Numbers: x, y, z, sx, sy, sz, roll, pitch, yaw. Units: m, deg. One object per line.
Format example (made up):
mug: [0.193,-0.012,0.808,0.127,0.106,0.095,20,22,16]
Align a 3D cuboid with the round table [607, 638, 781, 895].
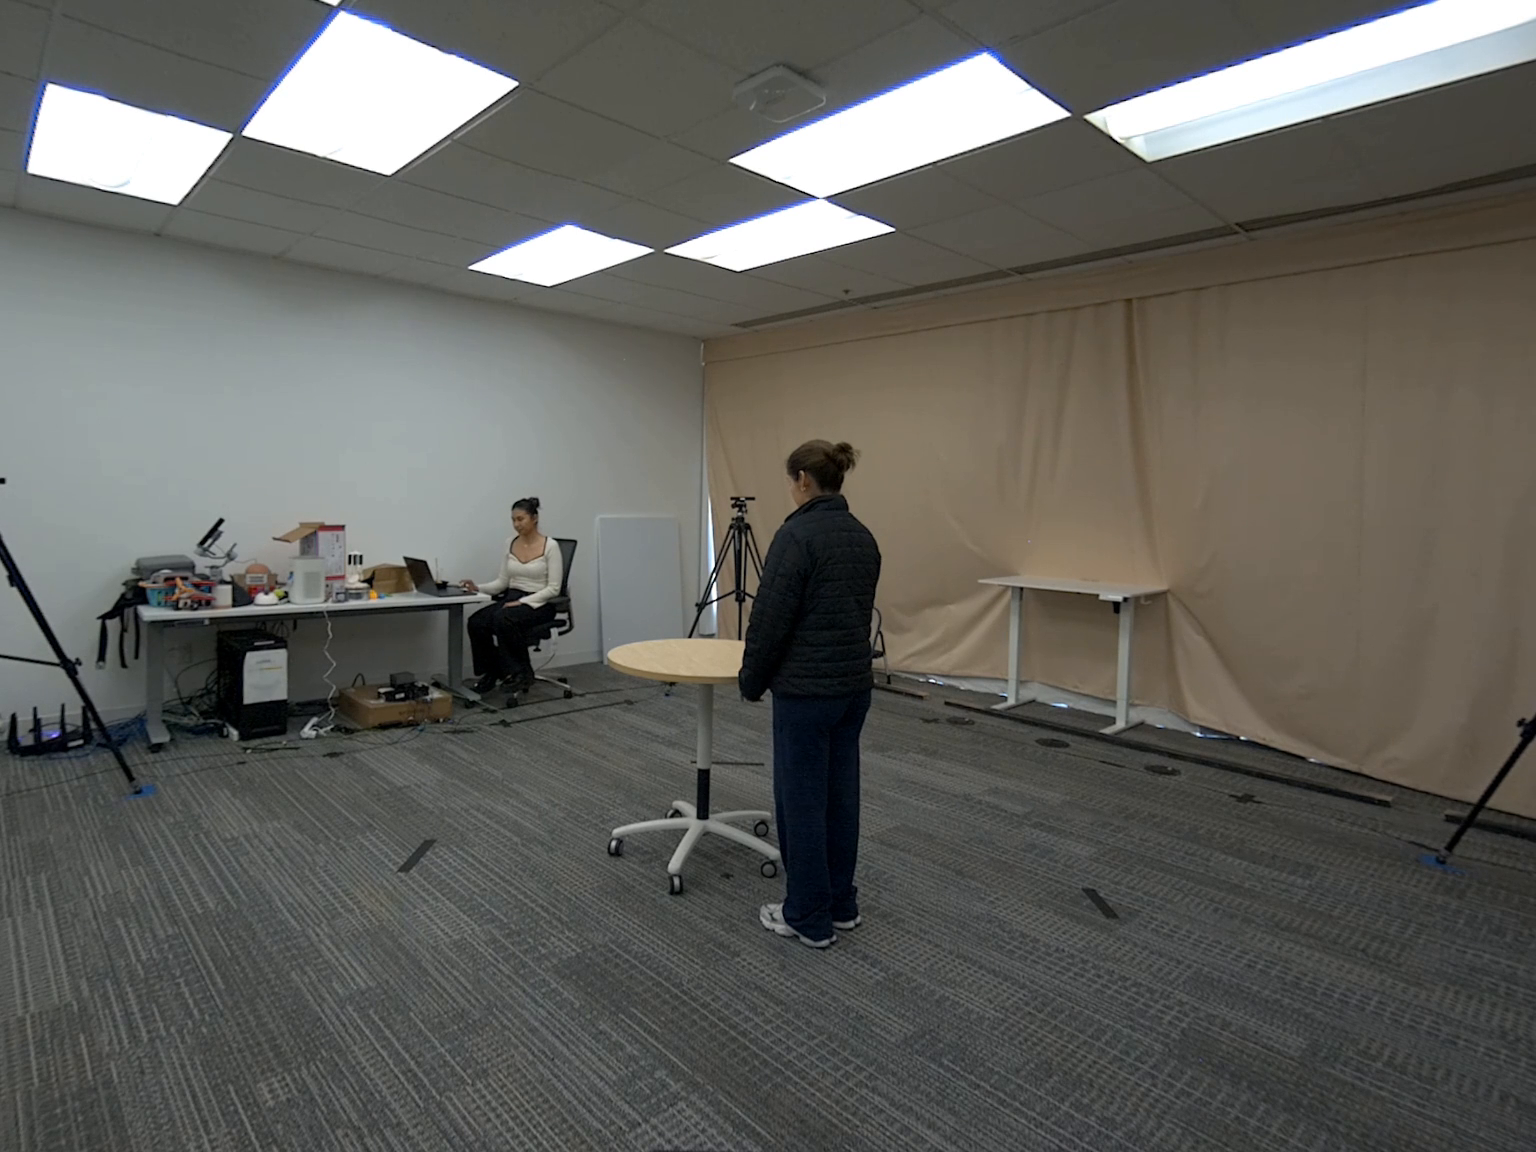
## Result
round table: [-0.245,0.700,3.246,0.784,0.784,0.788,1,4,-1]
